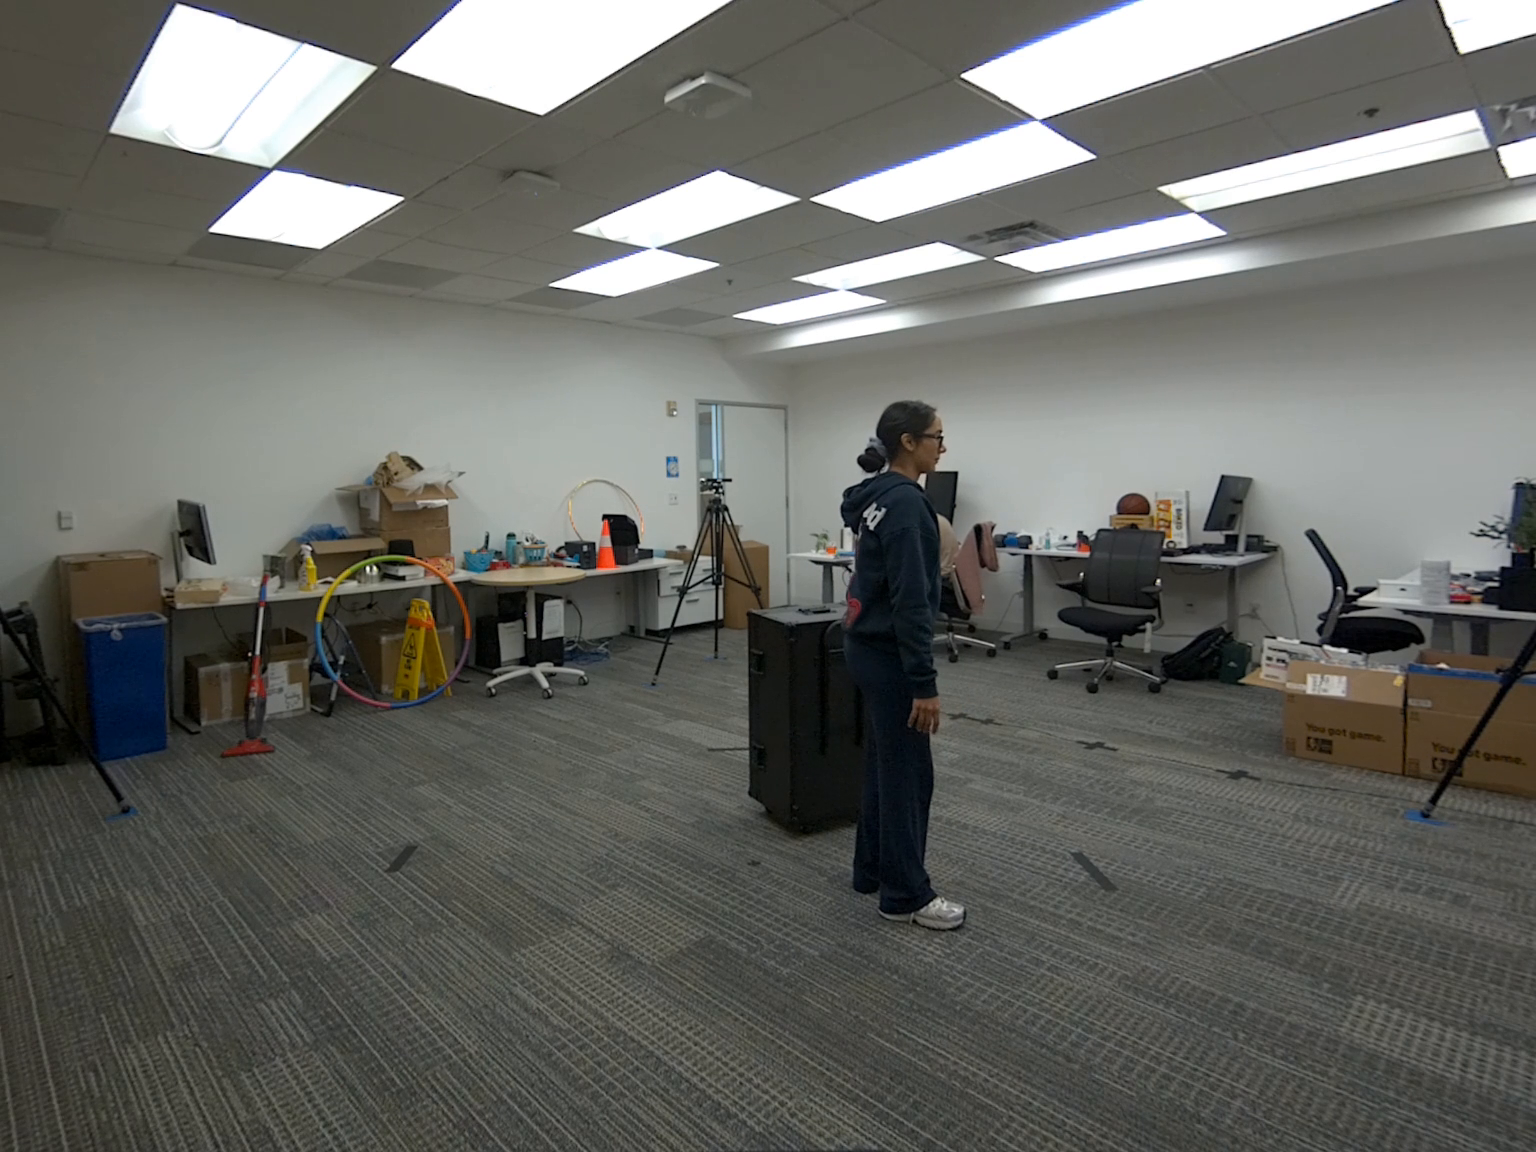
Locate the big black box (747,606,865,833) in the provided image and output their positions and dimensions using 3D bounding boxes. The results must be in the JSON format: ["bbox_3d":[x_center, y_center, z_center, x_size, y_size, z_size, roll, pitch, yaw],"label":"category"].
[{"bbox_3d":[0.221,0.573,3.494,0.510,0.857,0.407,-2,6,-26],"label":"big black box"}]
